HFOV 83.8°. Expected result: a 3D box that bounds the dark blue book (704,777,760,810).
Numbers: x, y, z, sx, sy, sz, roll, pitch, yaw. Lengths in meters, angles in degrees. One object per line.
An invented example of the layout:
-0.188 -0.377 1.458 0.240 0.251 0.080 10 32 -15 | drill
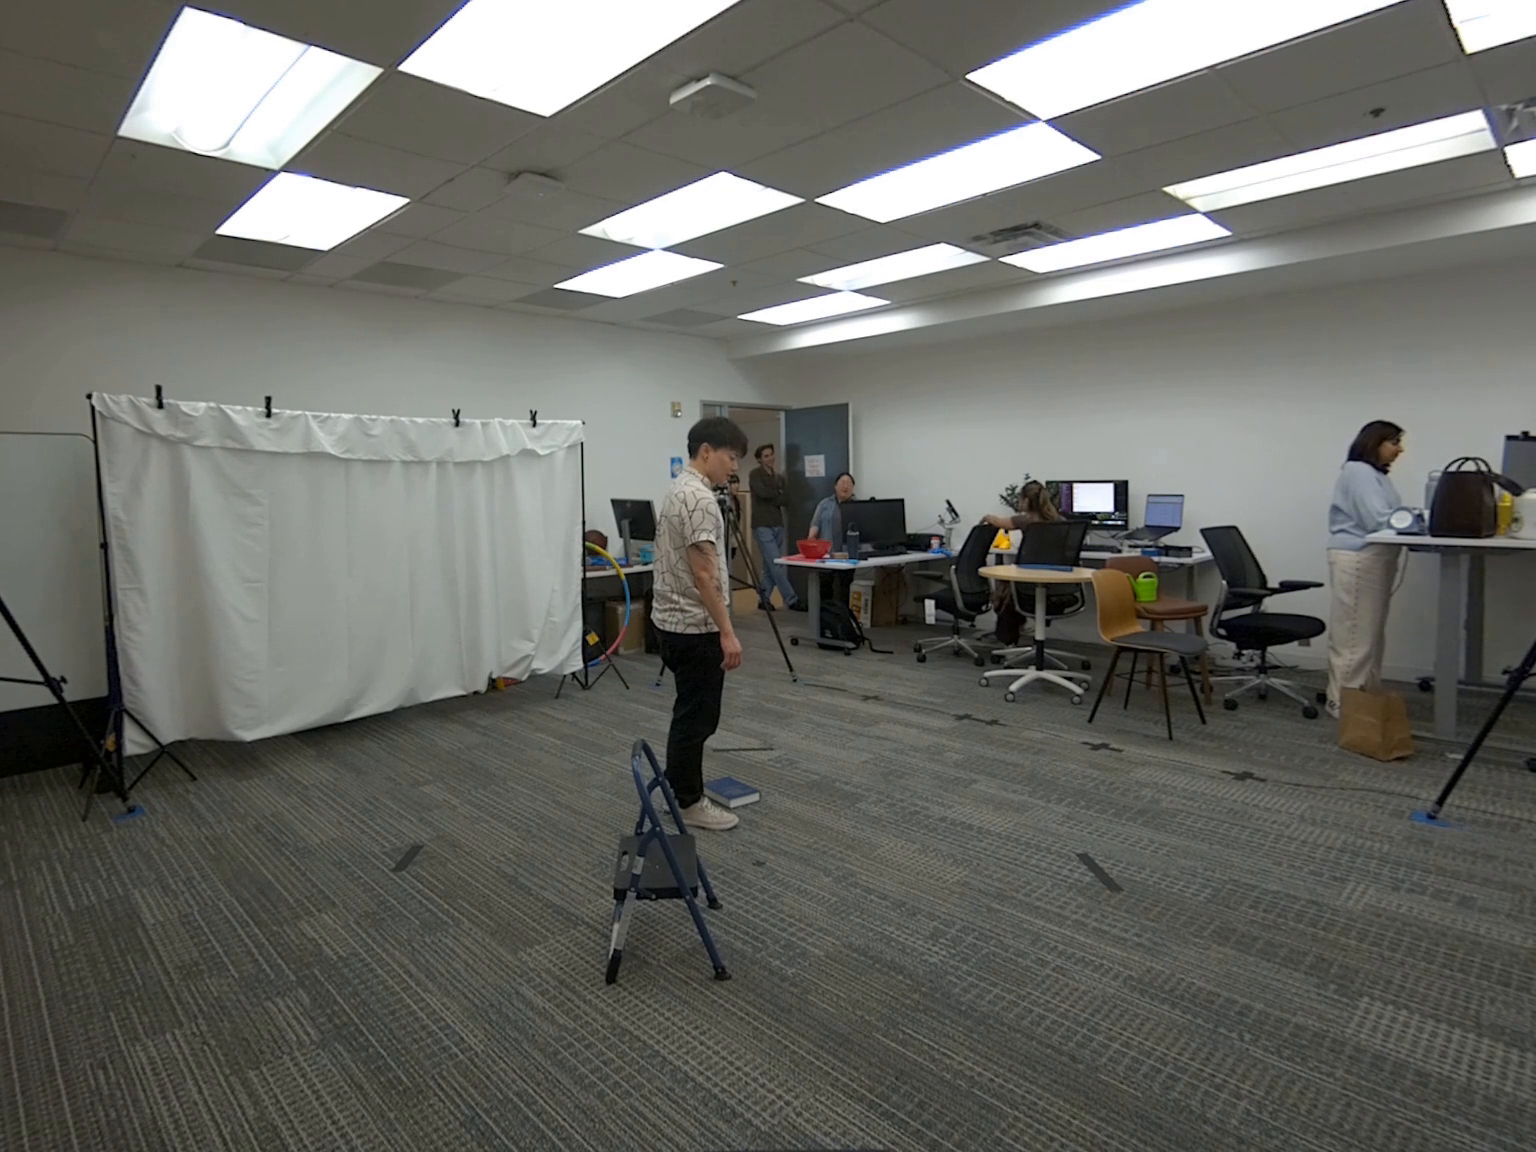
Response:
-0.167 0.954 3.770 0.159 0.045 0.252 -6 7 -35 | dark blue book
